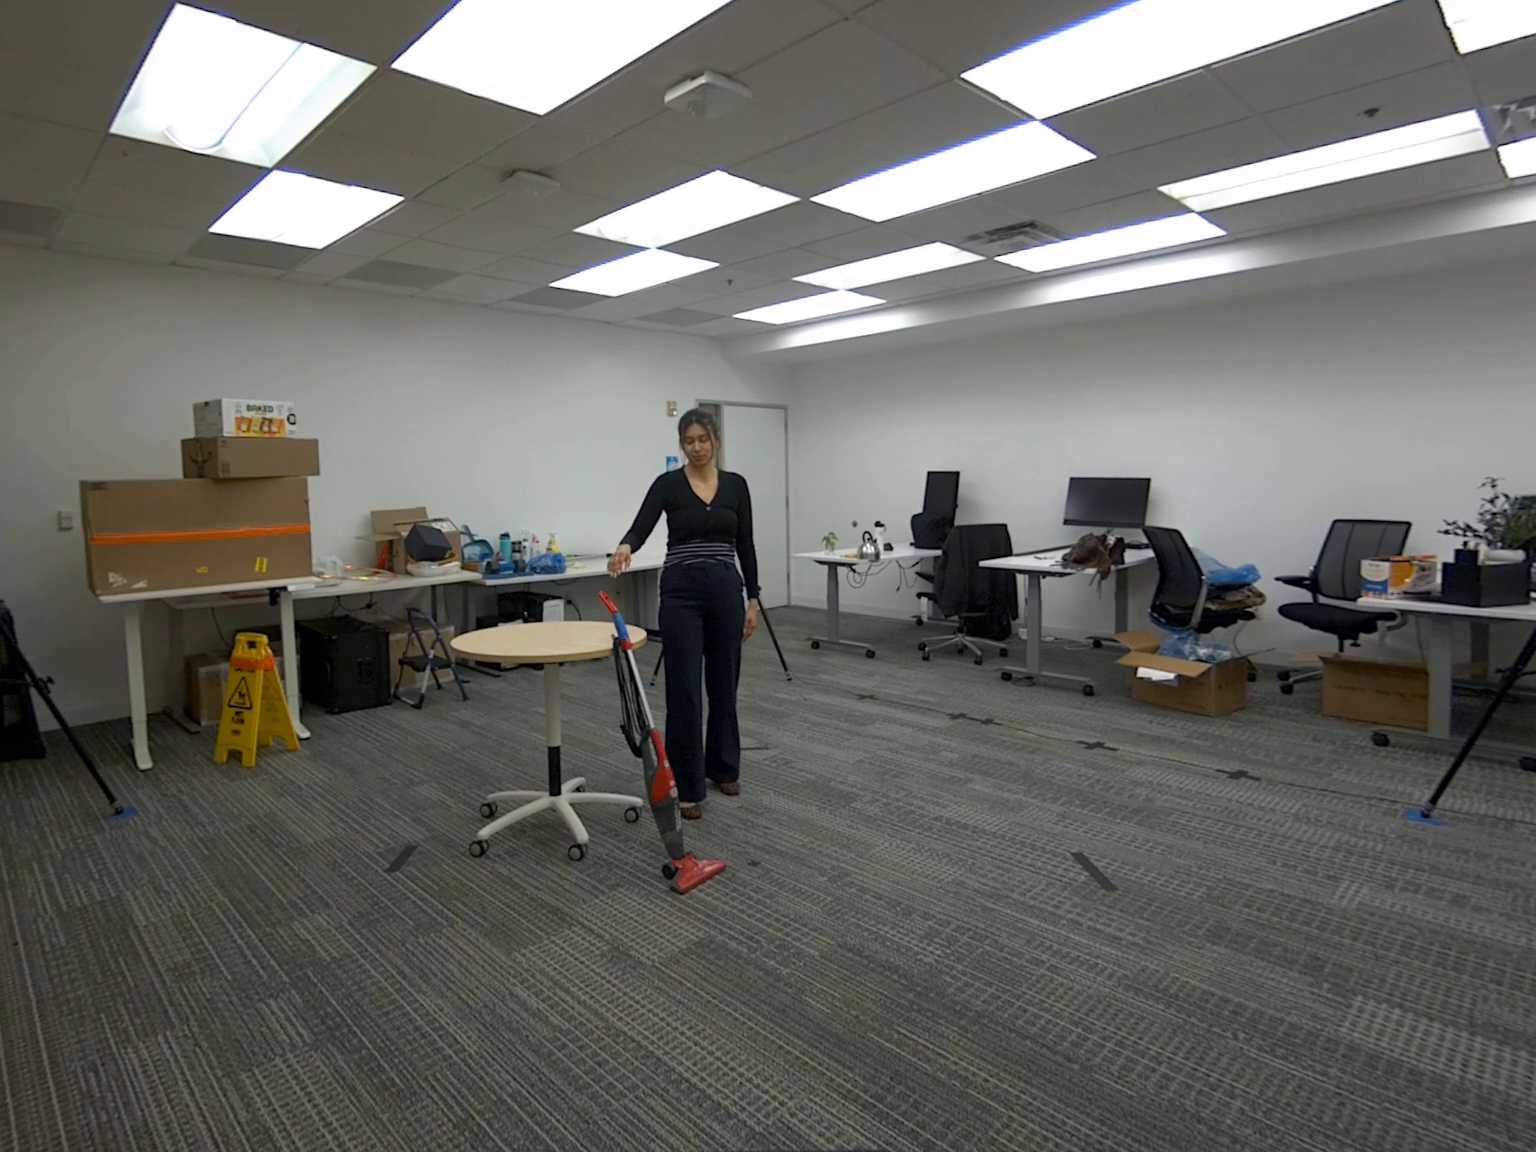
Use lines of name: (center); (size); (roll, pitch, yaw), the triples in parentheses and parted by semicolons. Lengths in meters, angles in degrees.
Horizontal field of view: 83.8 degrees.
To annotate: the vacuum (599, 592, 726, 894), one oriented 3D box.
vacuum: (-0.447, 0.571, 3.111); (0.146, 1.064, 0.246); (-29, -15, 39)
